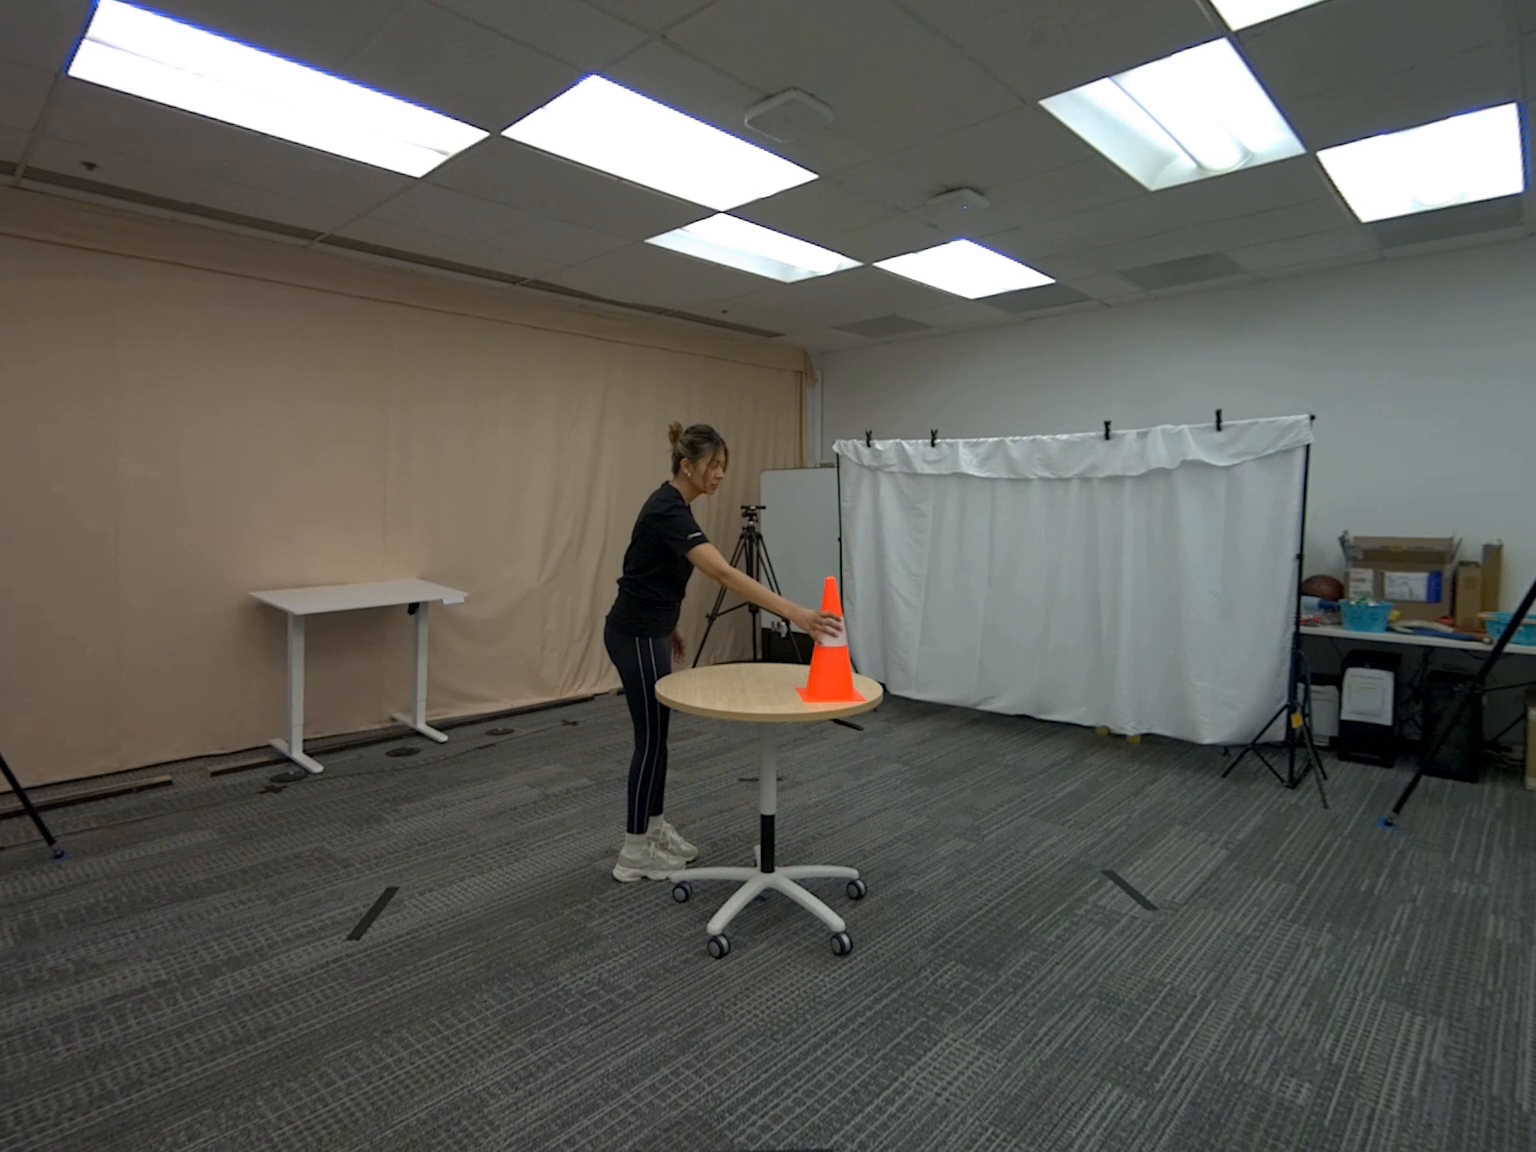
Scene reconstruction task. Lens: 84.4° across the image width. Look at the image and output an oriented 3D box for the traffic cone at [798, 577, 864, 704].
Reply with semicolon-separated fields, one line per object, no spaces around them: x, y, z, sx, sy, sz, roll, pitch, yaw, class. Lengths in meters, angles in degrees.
0.206;0.201;2.698;0.203;0.383;0.205;-1;4;-8;traffic cone
